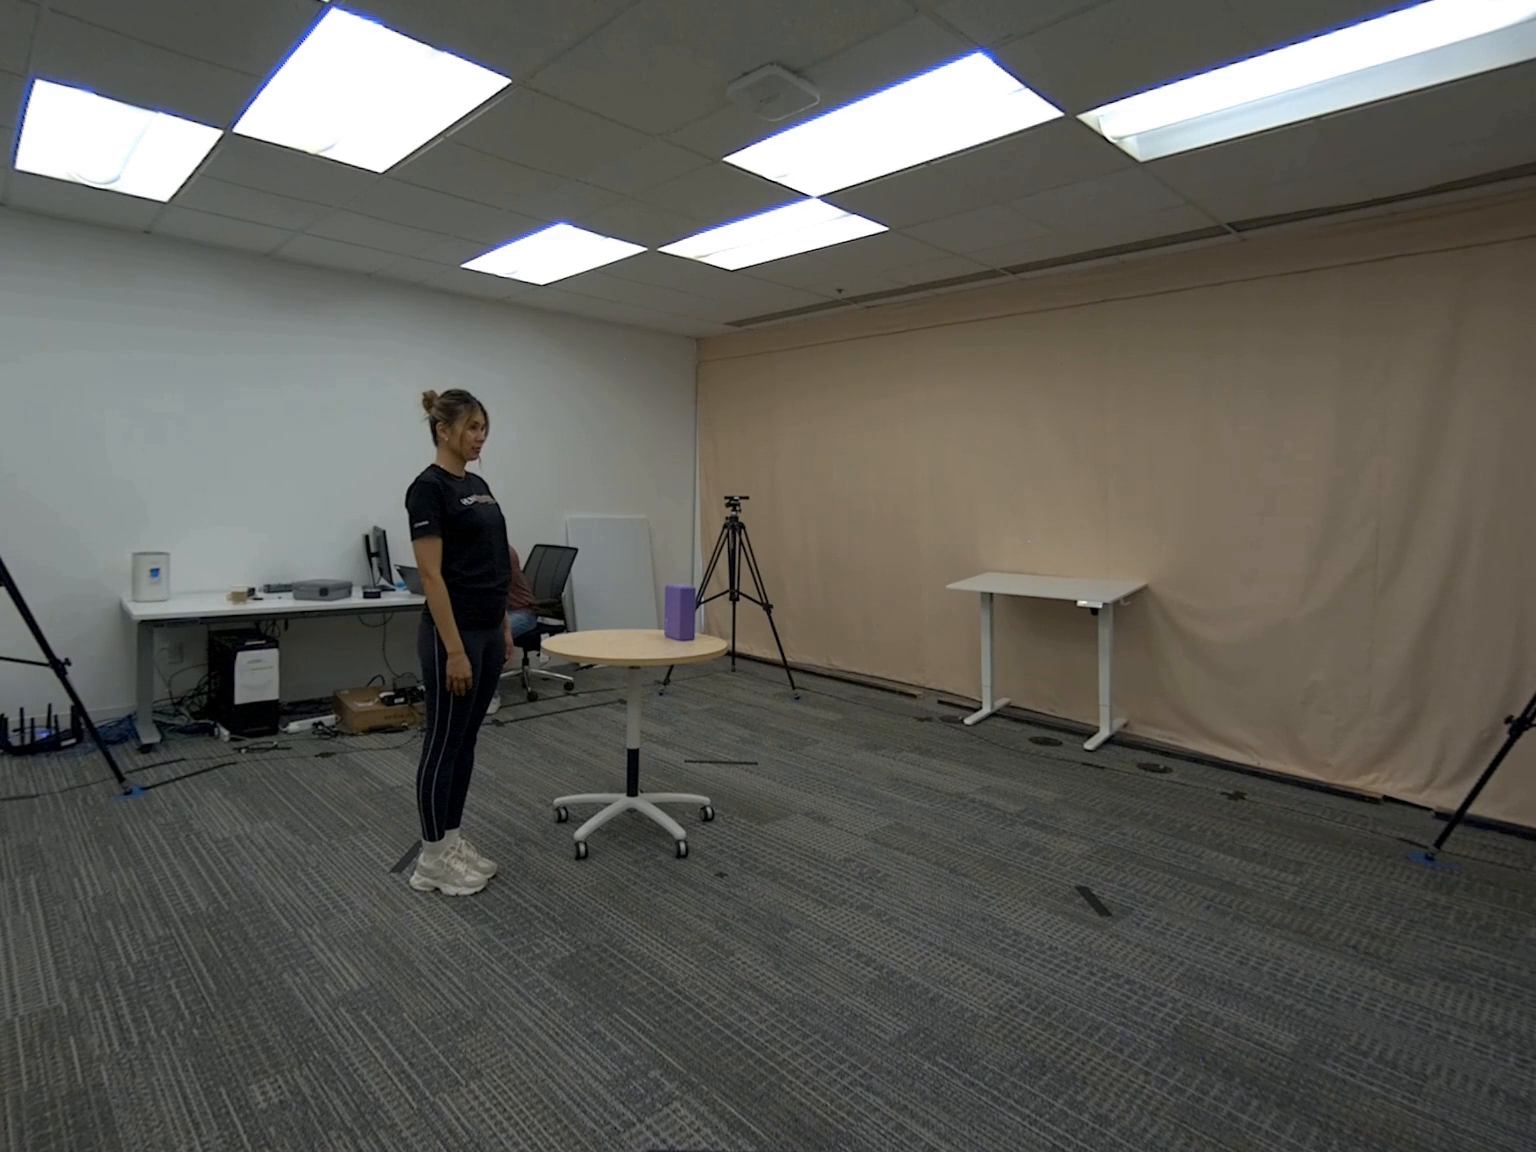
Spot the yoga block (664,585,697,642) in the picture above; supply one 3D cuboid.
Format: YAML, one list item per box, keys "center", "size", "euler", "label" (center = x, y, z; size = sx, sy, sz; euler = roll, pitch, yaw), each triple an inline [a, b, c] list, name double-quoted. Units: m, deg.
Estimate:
- center: [-0.388, 0.154, 3.621]
  size: [0.075, 0.229, 0.152]
  euler: [0, 3, -35]
  label: "yoga block"
